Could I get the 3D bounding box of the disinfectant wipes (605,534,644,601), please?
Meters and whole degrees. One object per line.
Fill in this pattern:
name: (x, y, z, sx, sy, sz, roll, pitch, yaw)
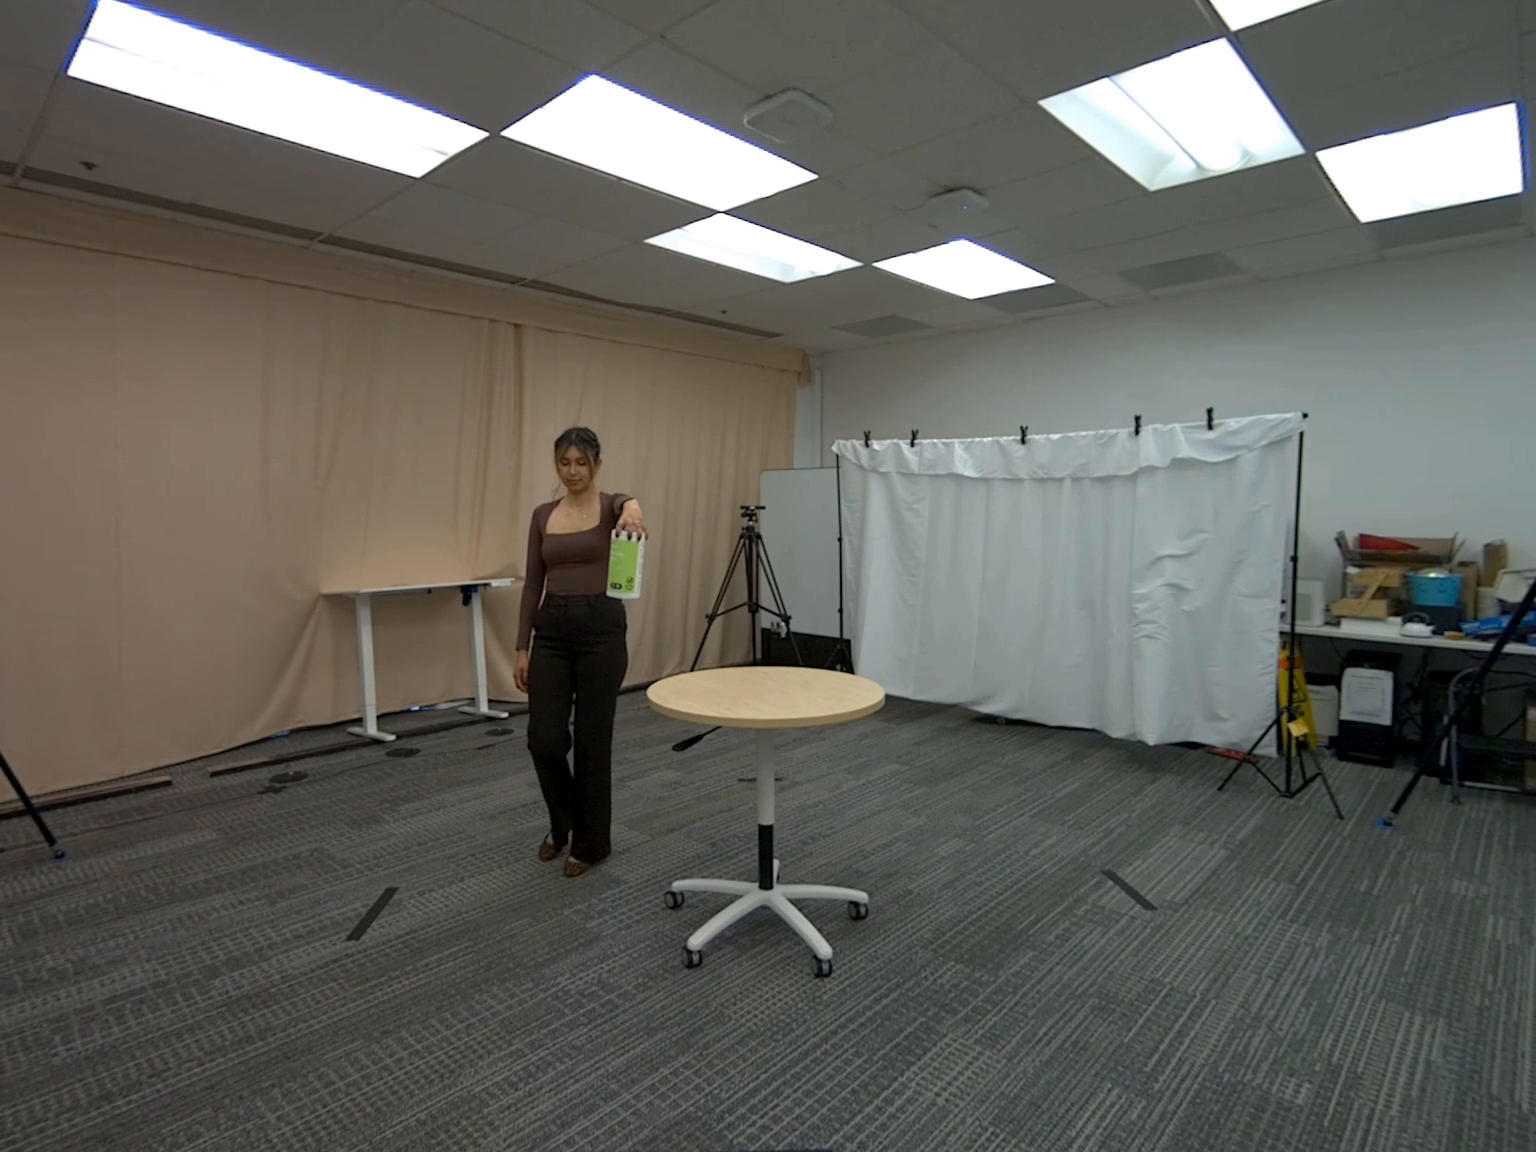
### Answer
disinfectant wipes: (-0.455, -0.037, 2.710, 0.117, 0.217, 0.118, 5, 4, -2)
